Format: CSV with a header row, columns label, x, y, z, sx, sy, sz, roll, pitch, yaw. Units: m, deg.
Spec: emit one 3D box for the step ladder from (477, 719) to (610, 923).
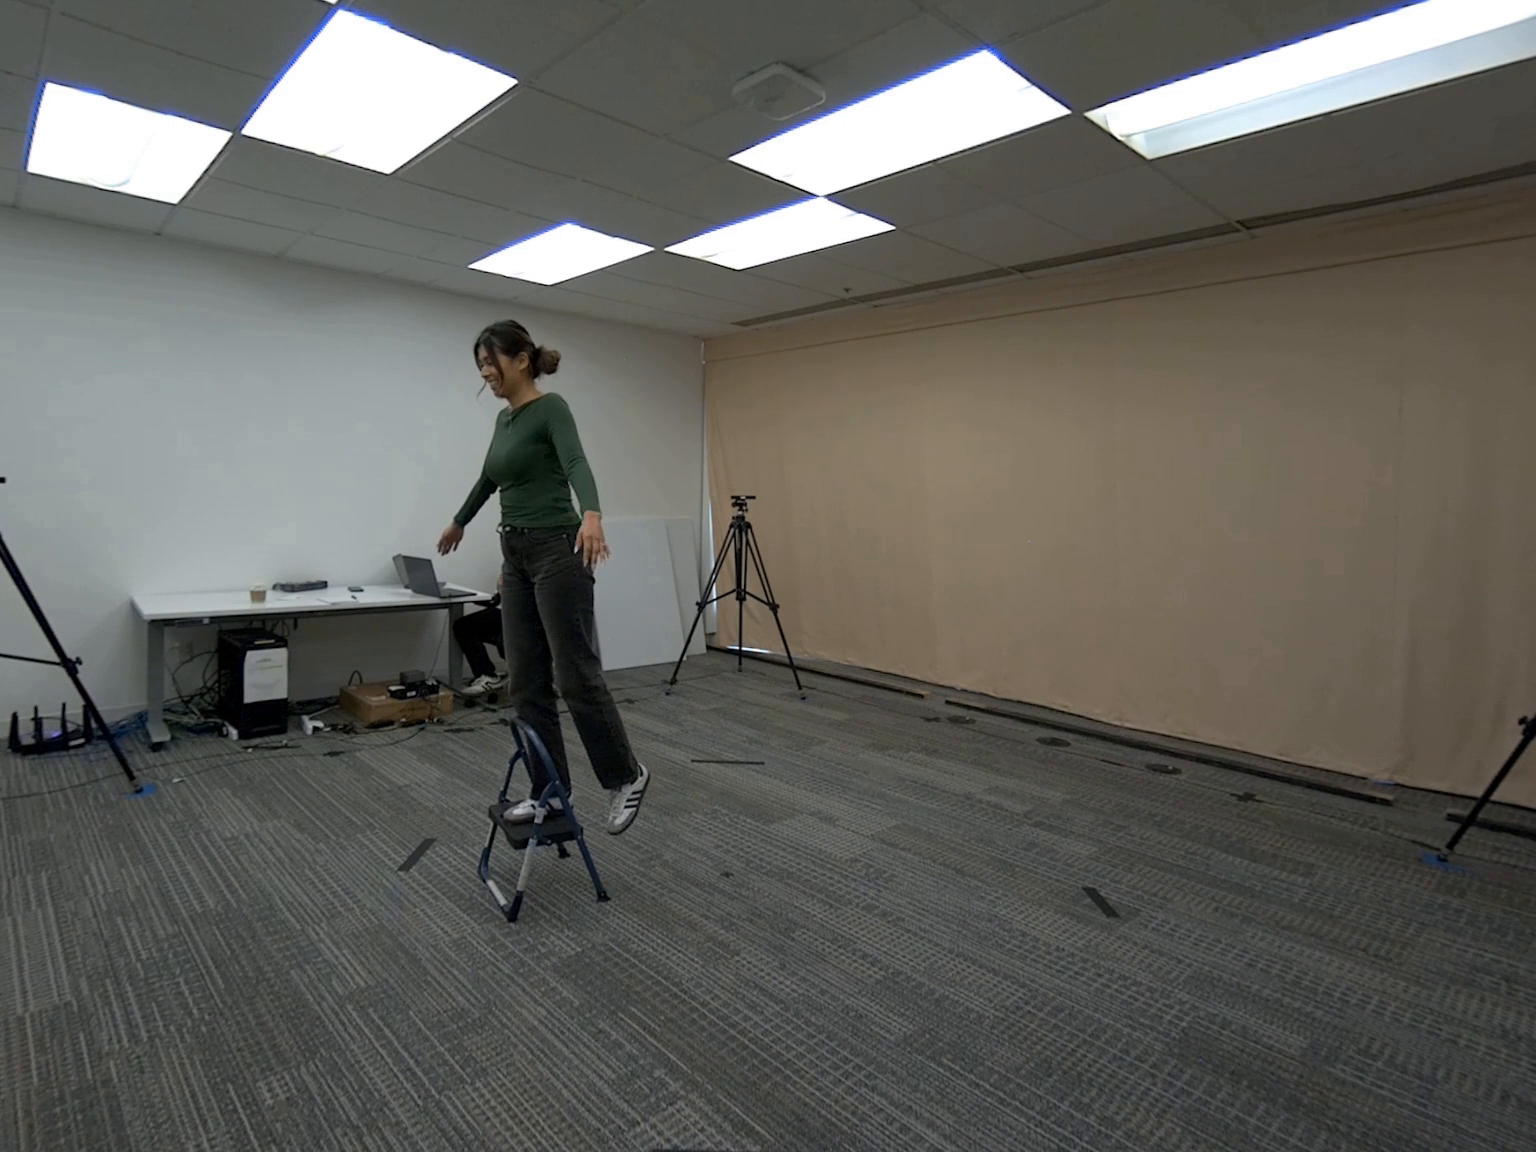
label,x,y,z,sx,sy,sz,roll,pitch,yaw
step ladder,-0.801,0.799,2.960,0.342,0.604,0.441,-1,4,-33
